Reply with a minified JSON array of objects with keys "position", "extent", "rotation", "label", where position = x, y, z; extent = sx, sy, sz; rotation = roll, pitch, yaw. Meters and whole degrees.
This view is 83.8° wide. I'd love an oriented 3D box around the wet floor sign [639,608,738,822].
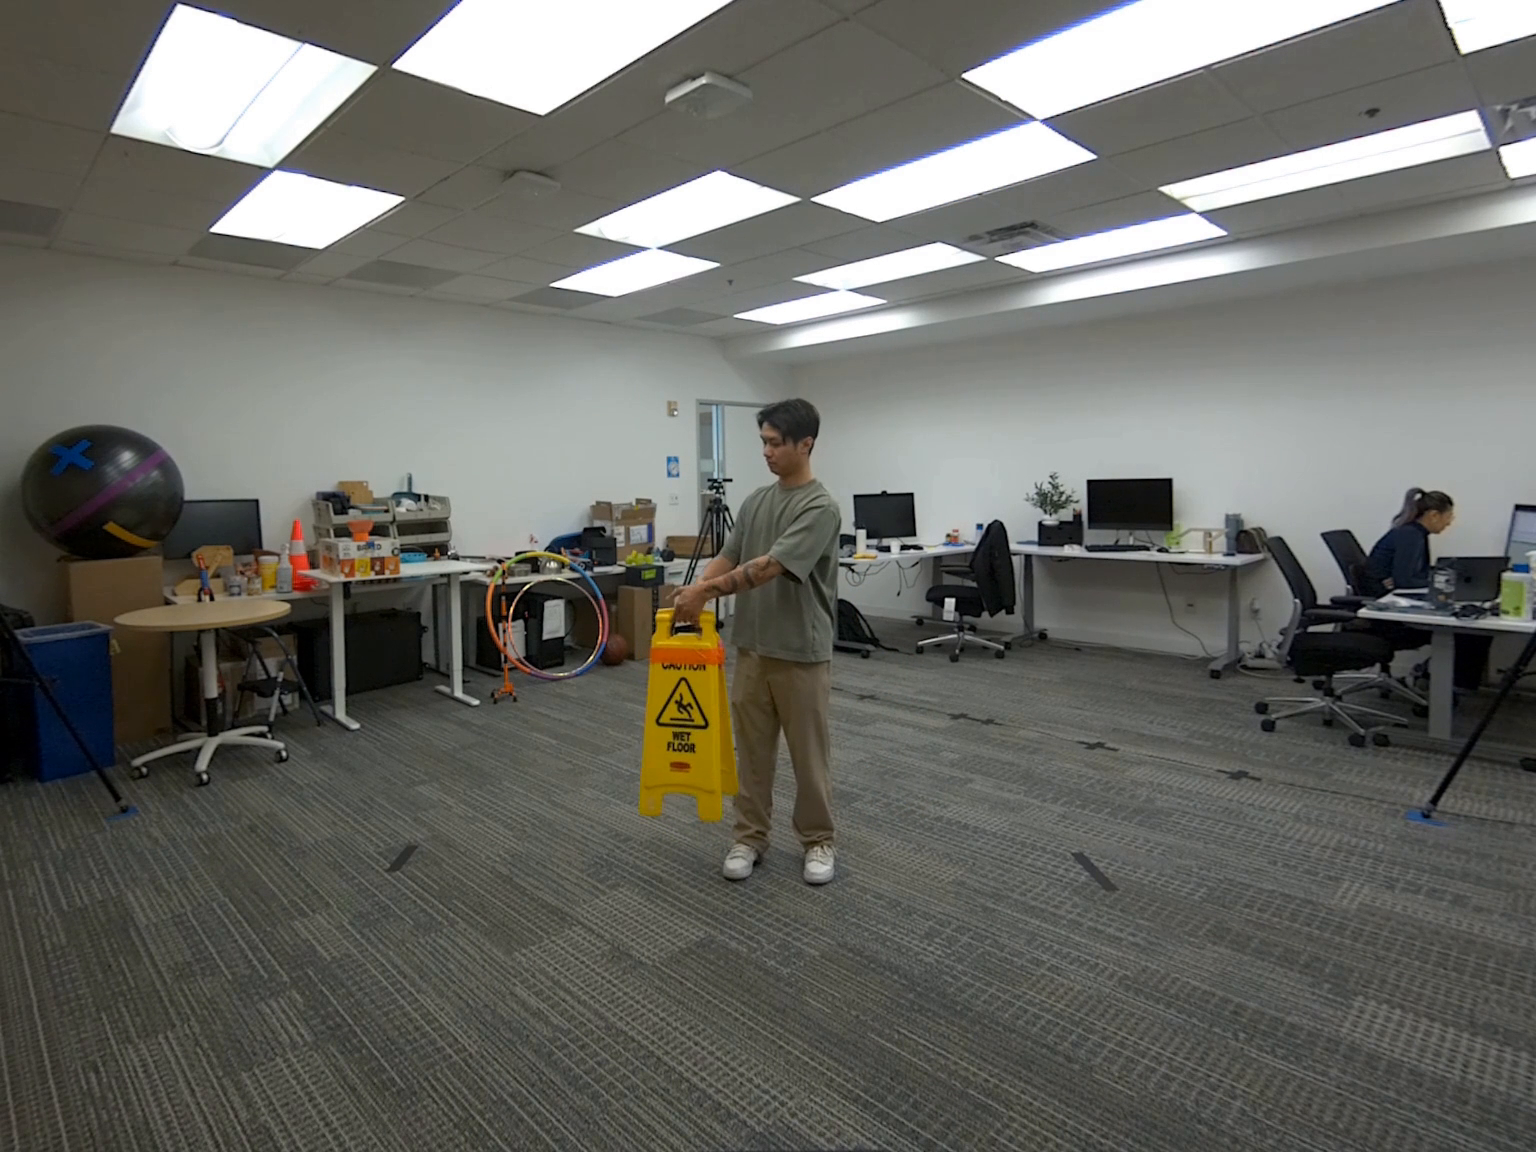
[{"position":[-0.261,0.445,2.822],"extent":[0.286,0.644,0.287],"rotation":[0,4,13],"label":"wet floor sign"}]
